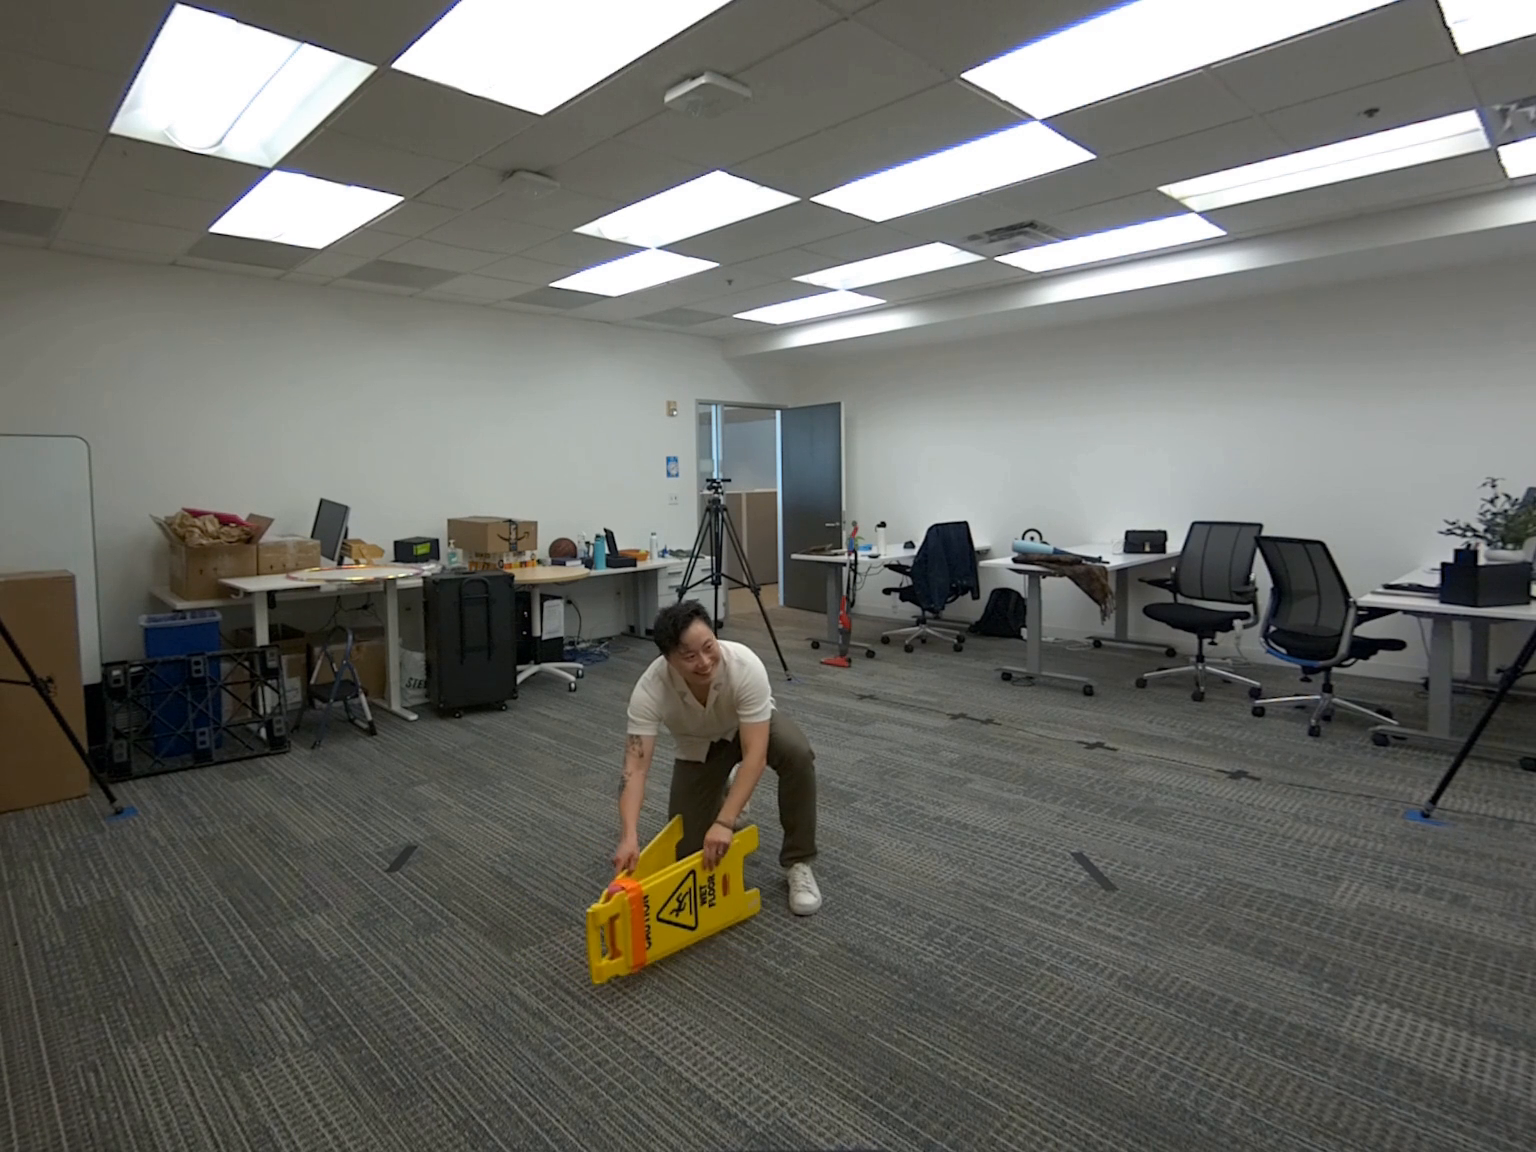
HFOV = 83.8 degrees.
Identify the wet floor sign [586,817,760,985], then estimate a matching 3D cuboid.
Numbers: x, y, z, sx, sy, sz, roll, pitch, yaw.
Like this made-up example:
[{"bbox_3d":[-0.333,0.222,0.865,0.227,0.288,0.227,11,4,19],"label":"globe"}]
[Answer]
[{"bbox_3d":[-0.305,0.959,2.522,0.296,0.282,0.631,-4,2,30],"label":"wet floor sign"}]
